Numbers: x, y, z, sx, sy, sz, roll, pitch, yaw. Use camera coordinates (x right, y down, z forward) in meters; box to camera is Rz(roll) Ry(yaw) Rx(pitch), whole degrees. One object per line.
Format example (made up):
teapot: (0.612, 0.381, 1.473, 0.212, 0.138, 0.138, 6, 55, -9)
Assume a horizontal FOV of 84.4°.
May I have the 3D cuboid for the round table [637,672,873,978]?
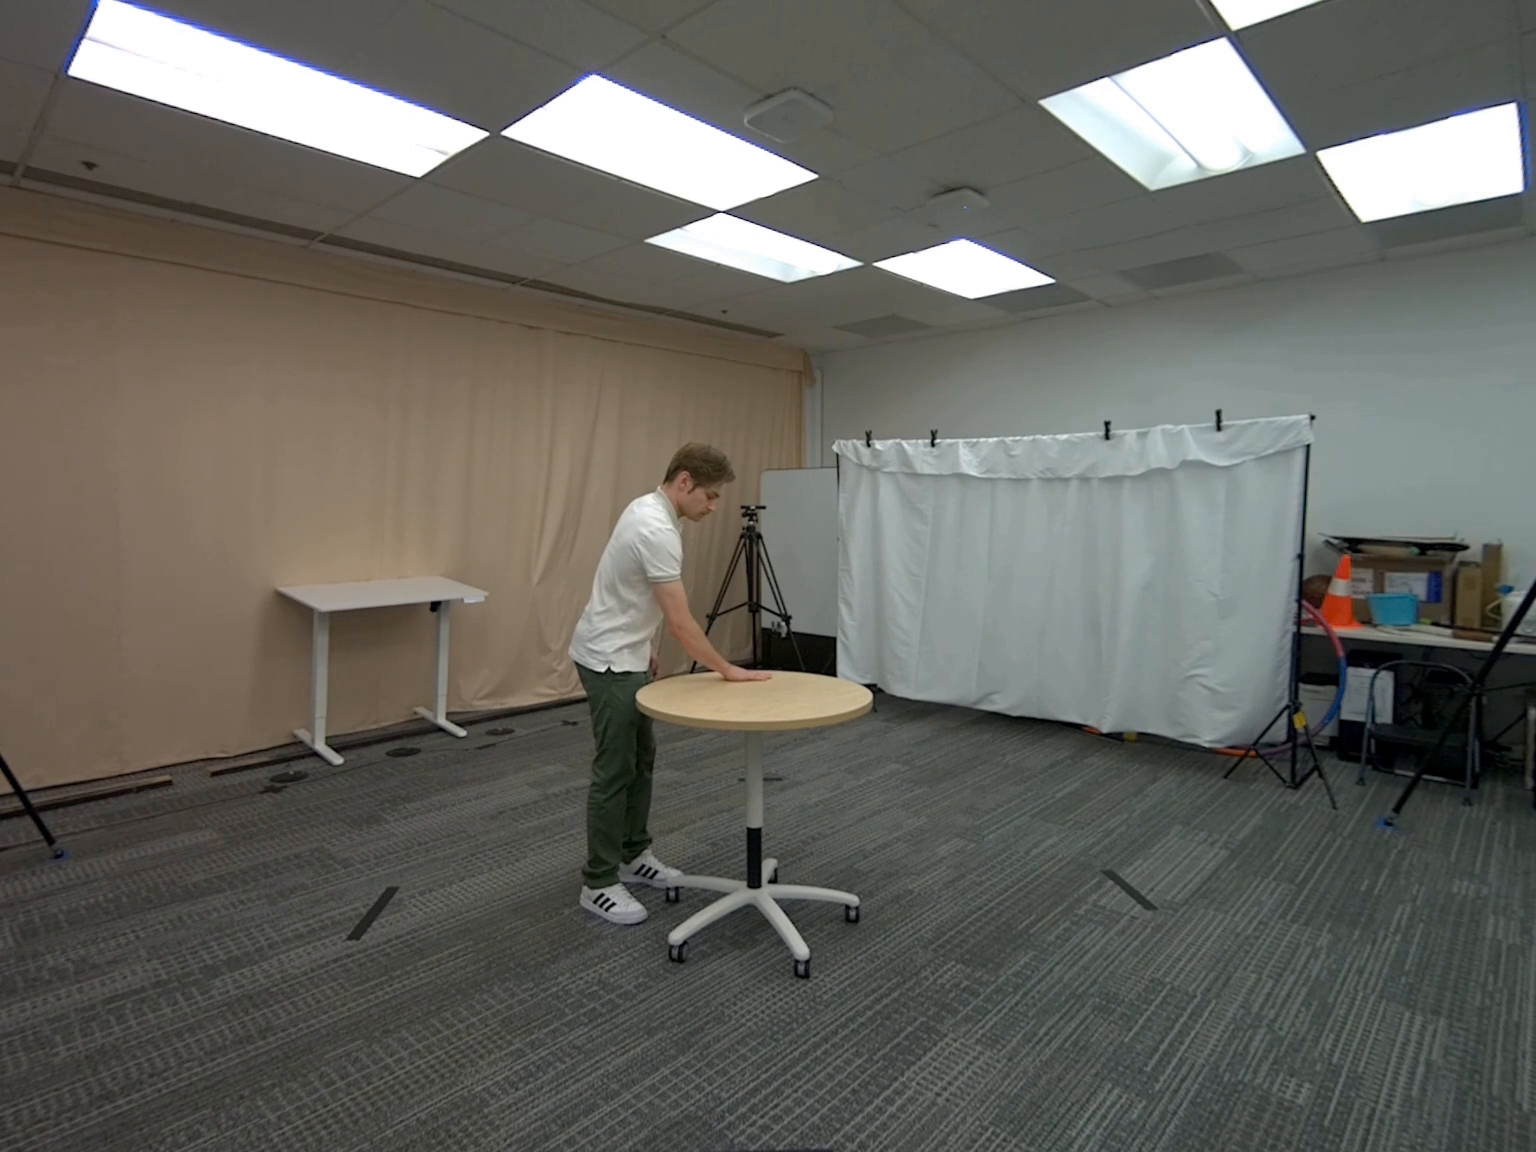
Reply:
round table: (-0.034, 0.771, 2.744, 0.784, 0.785, 0.787, -1, 3, -2)
